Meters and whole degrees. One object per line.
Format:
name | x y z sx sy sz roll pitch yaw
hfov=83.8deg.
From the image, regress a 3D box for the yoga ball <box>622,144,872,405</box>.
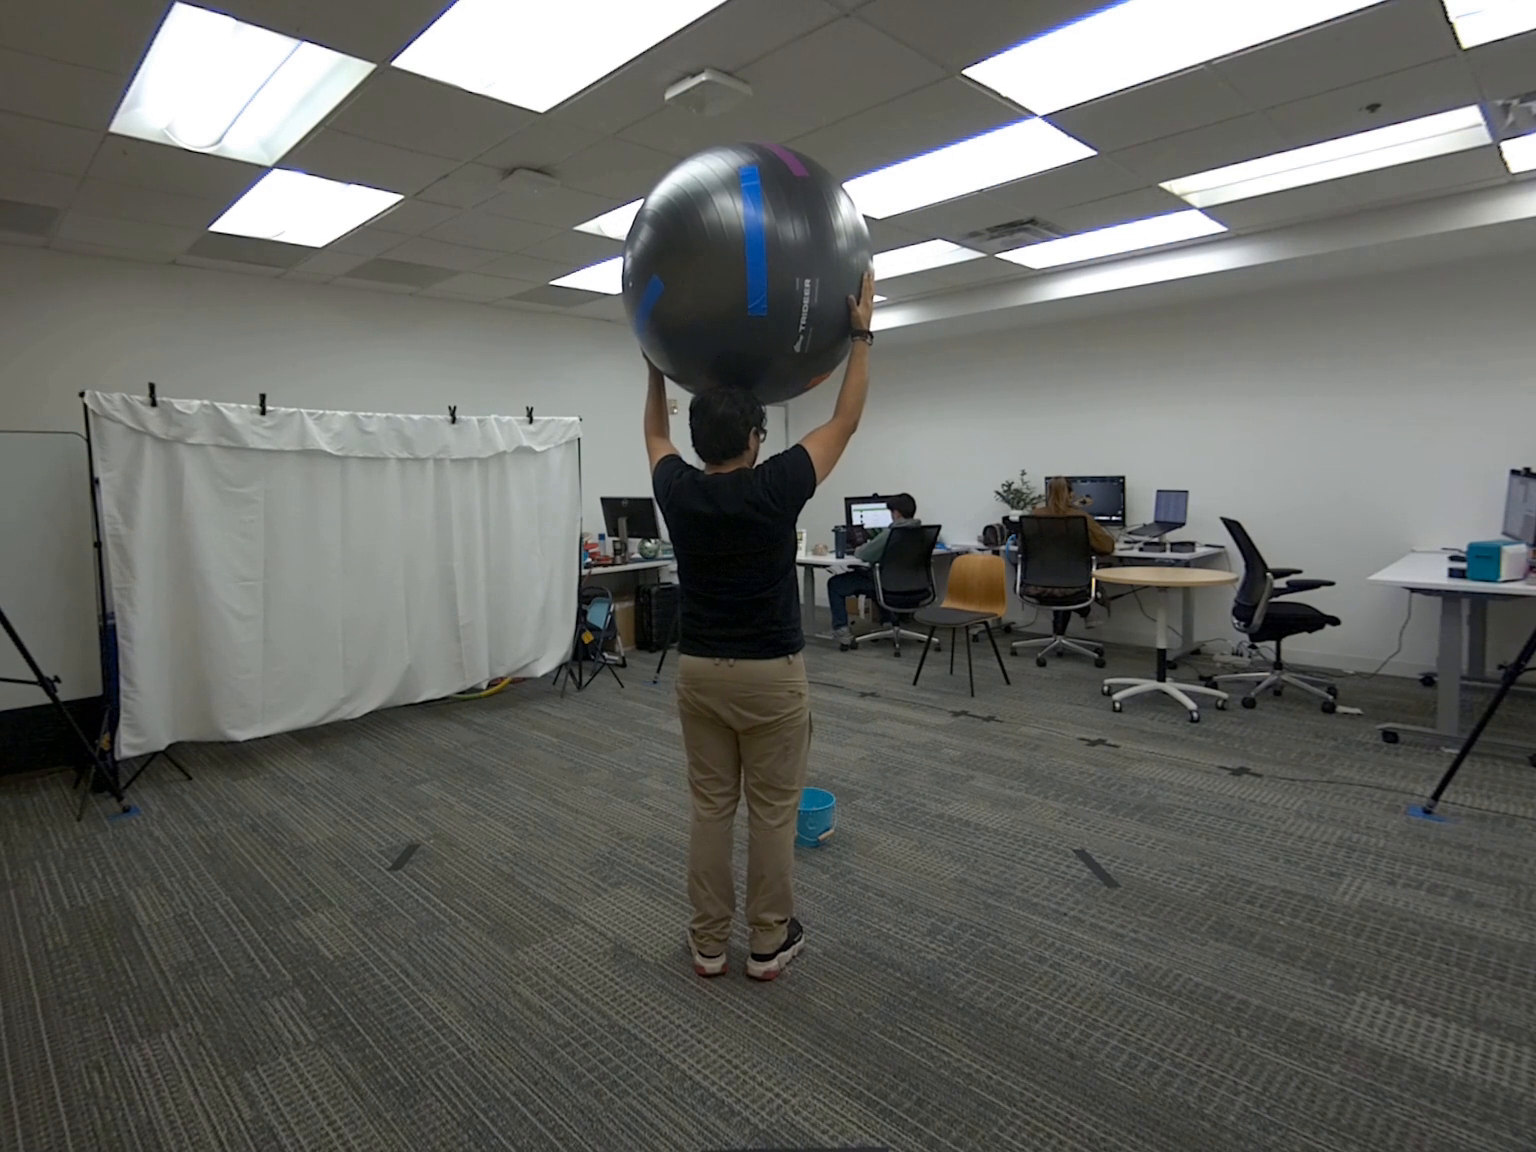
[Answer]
yoga ball | -0.061 -0.886 2.573 0.757 0.755 0.762 -1 5 -2
